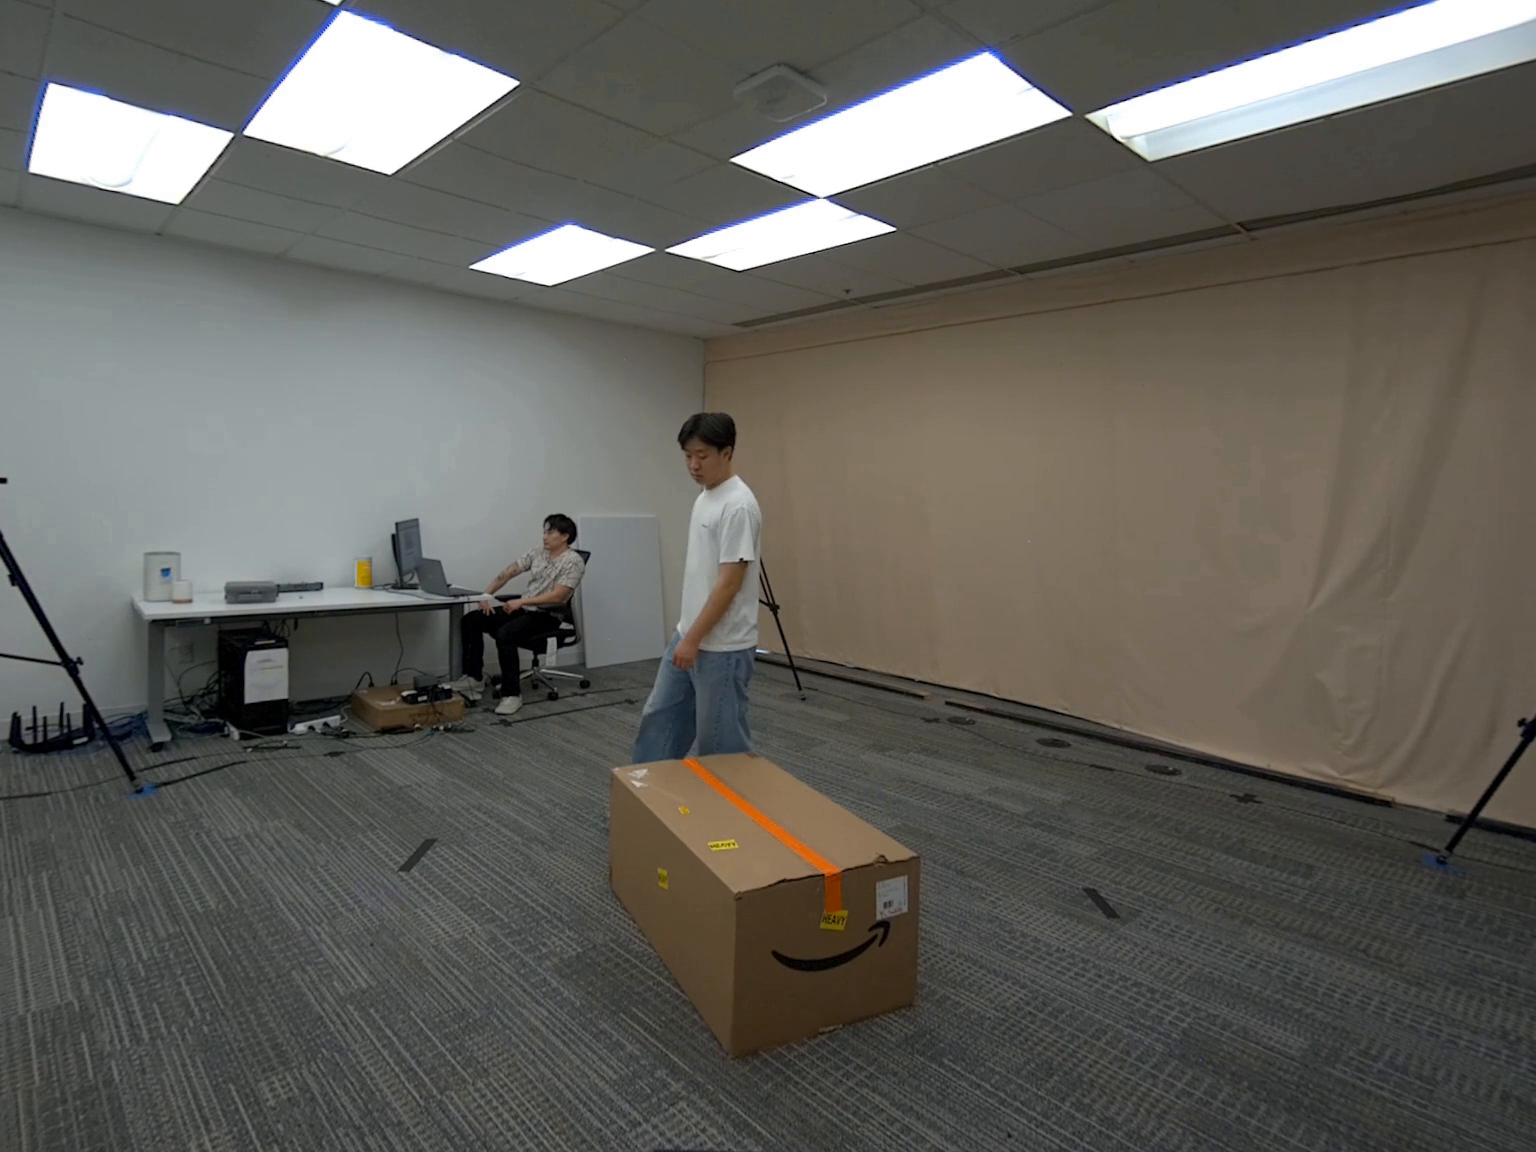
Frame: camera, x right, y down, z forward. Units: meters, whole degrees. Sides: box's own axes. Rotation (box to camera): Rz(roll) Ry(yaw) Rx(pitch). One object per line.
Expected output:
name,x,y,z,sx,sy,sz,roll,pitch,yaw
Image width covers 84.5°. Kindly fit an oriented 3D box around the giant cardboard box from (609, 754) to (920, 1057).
giant cardboard box,-0.075,0.937,2.651,0.567,0.425,1.048,-1,6,-27
